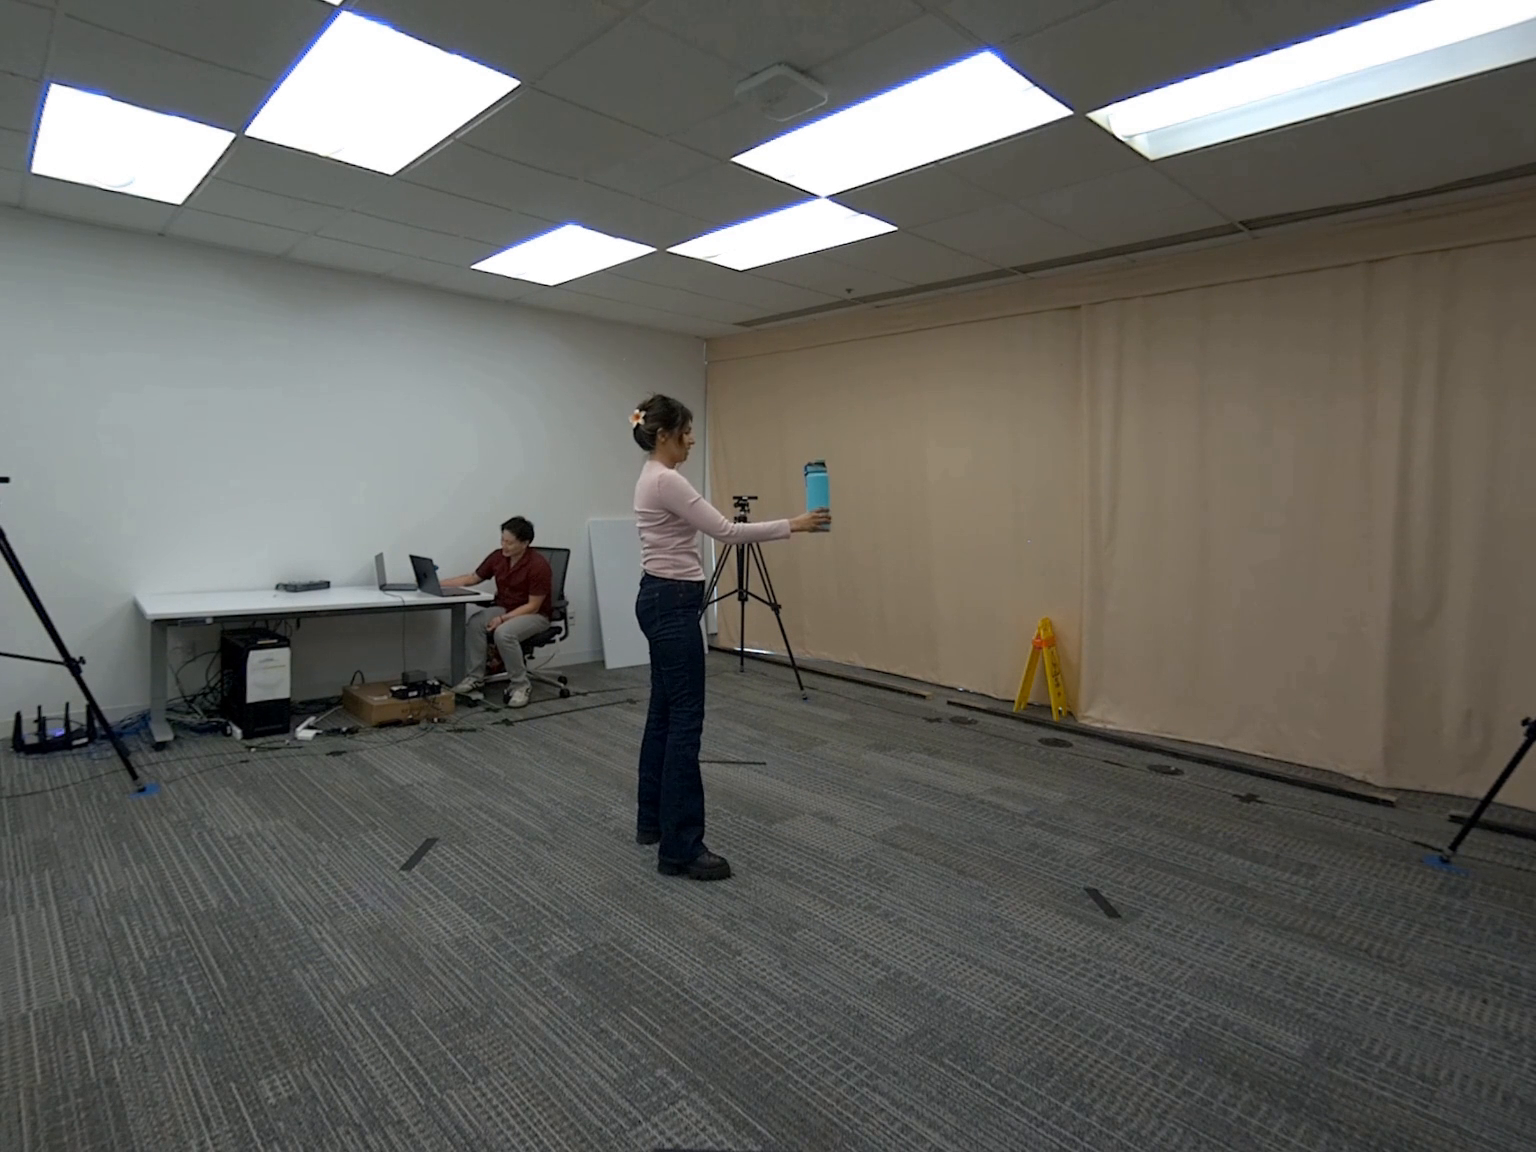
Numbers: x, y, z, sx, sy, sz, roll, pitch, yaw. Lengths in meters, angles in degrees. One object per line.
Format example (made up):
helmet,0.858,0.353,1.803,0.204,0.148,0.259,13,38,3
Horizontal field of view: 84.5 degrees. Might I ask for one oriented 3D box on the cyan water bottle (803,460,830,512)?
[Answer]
cyan water bottle,0.182,-0.316,3.248,0.092,0.283,0.092,-3,1,-1
